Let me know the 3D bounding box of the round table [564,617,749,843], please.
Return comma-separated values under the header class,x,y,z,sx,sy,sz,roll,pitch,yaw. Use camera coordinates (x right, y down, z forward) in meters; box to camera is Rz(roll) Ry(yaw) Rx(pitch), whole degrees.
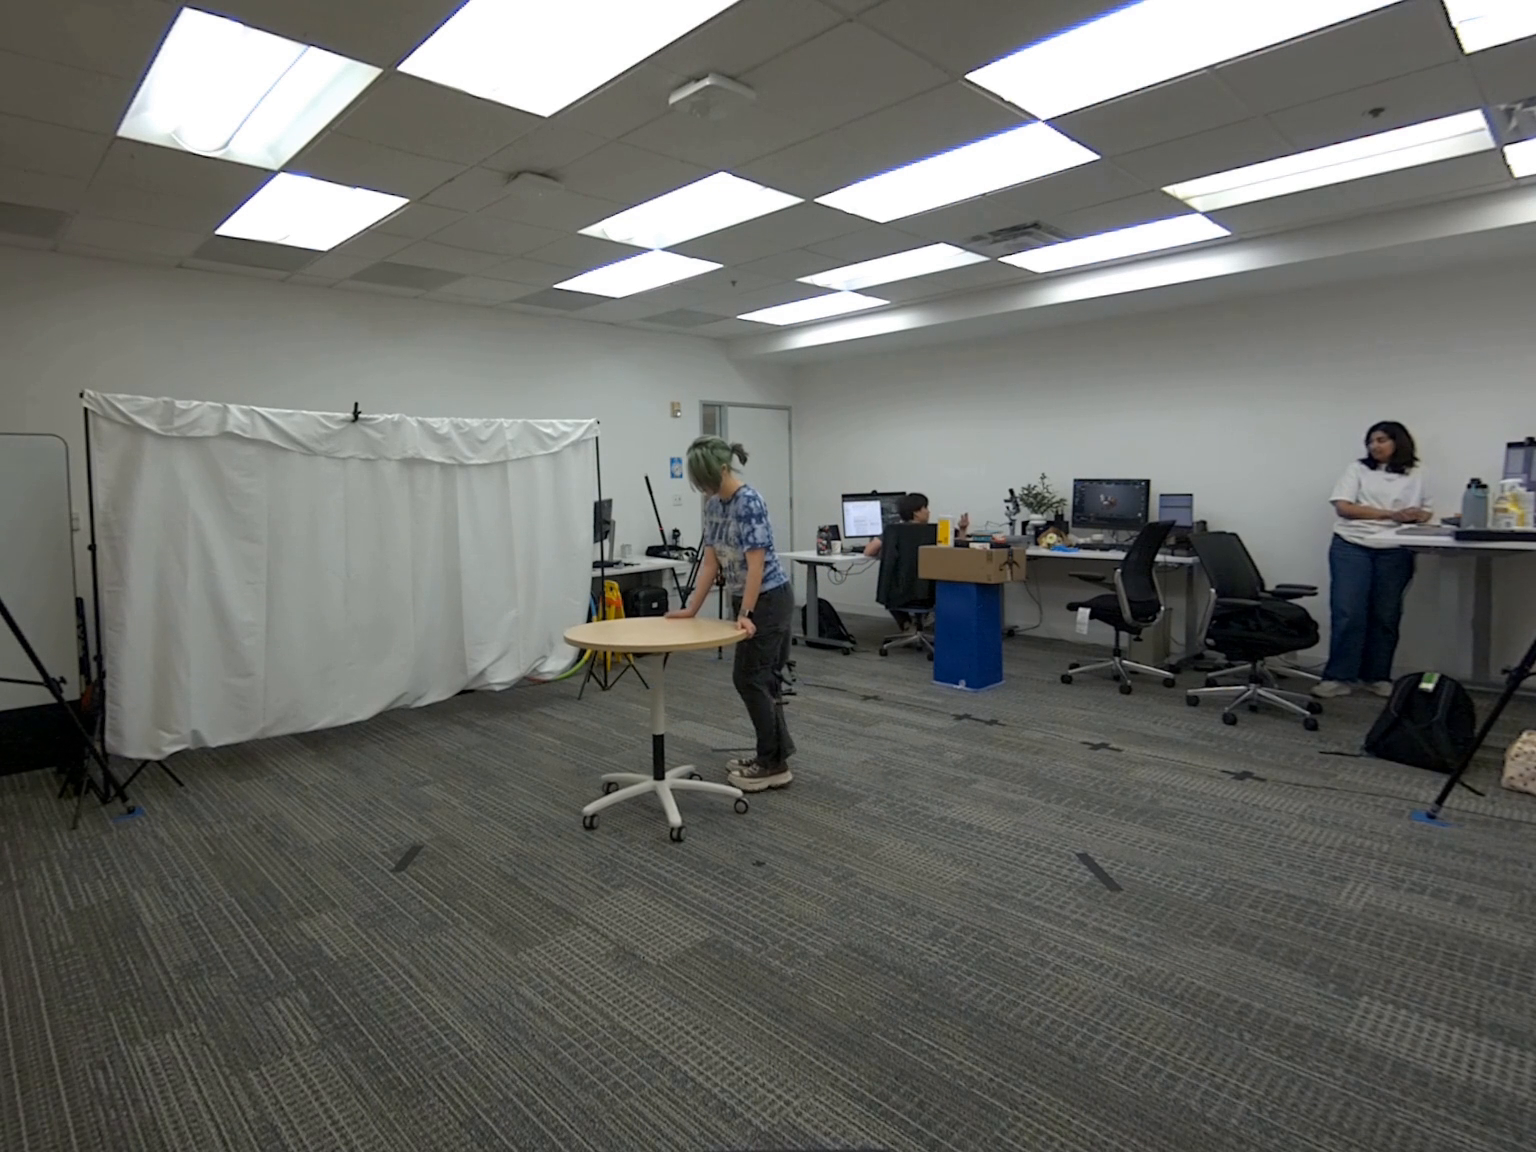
class,x,y,z,sx,sy,sz,roll,pitch,yaw
round table,-0.465,0.615,3.601,0.763,0.792,0.767,-1,4,-2
